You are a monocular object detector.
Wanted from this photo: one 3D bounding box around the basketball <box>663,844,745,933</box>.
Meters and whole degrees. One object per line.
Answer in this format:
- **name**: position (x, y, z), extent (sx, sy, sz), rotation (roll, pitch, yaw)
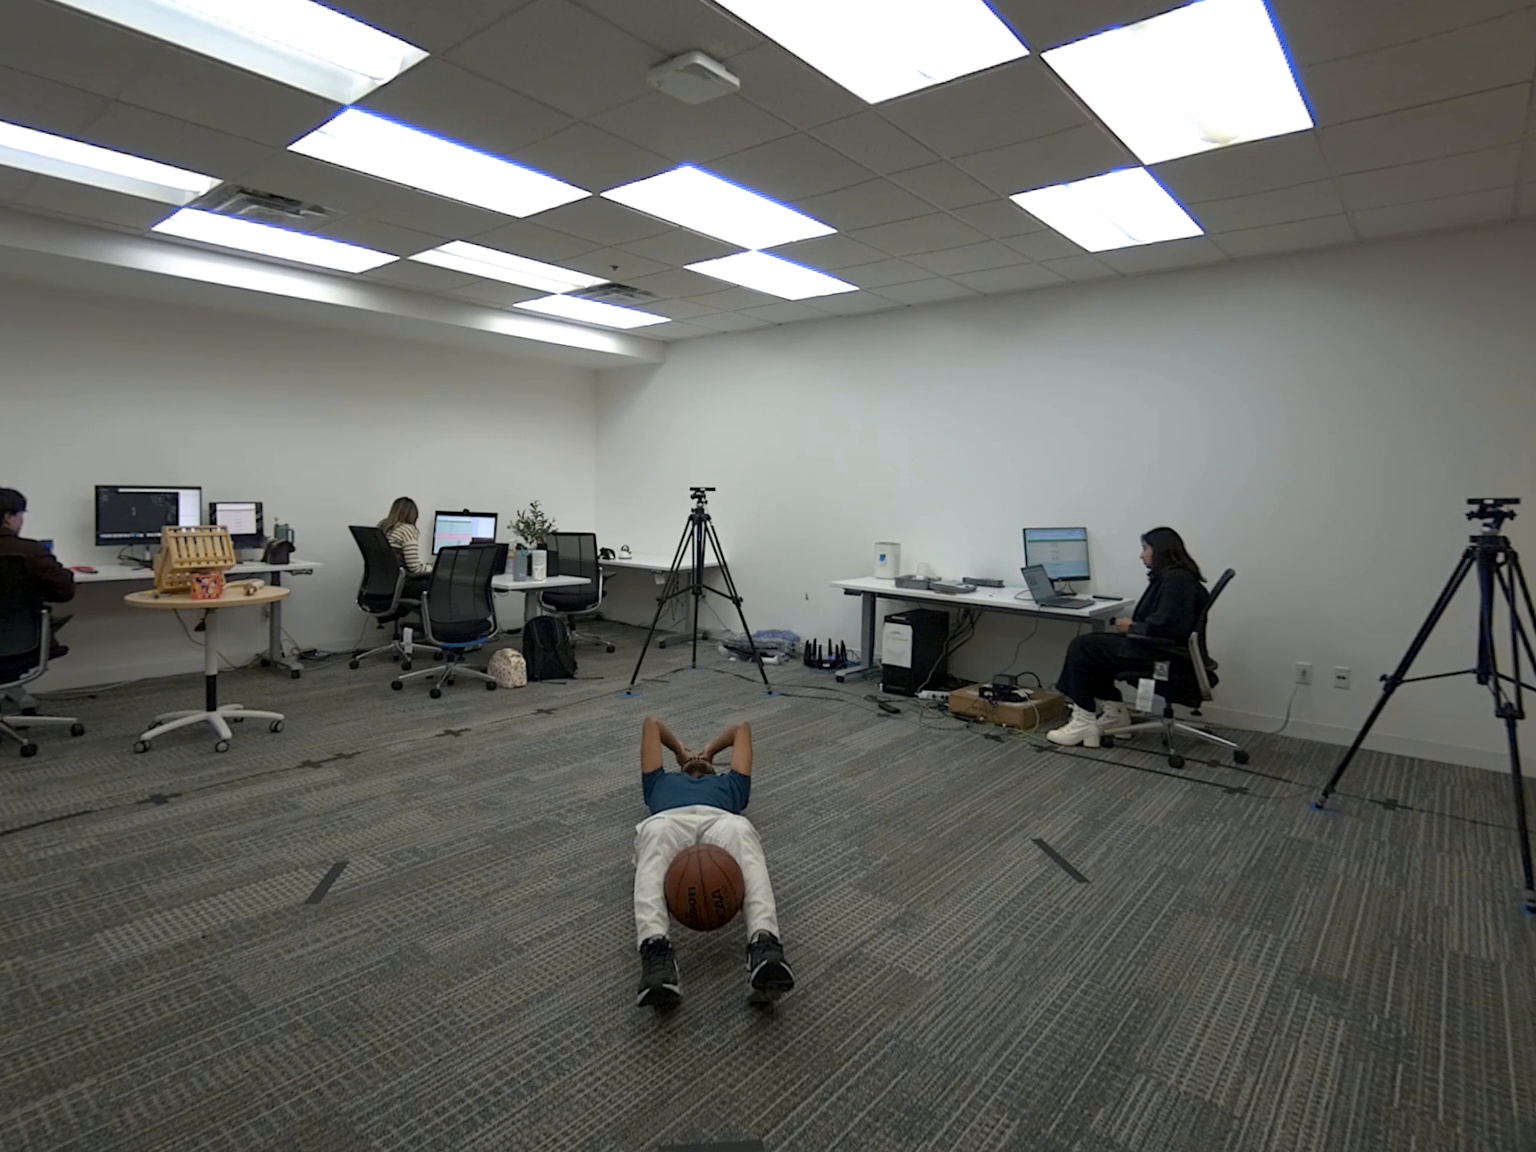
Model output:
- **basketball**: position (-0.194, 0.911, 2.497), extent (0.235, 0.235, 0.237), rotation (1, 4, -2)
